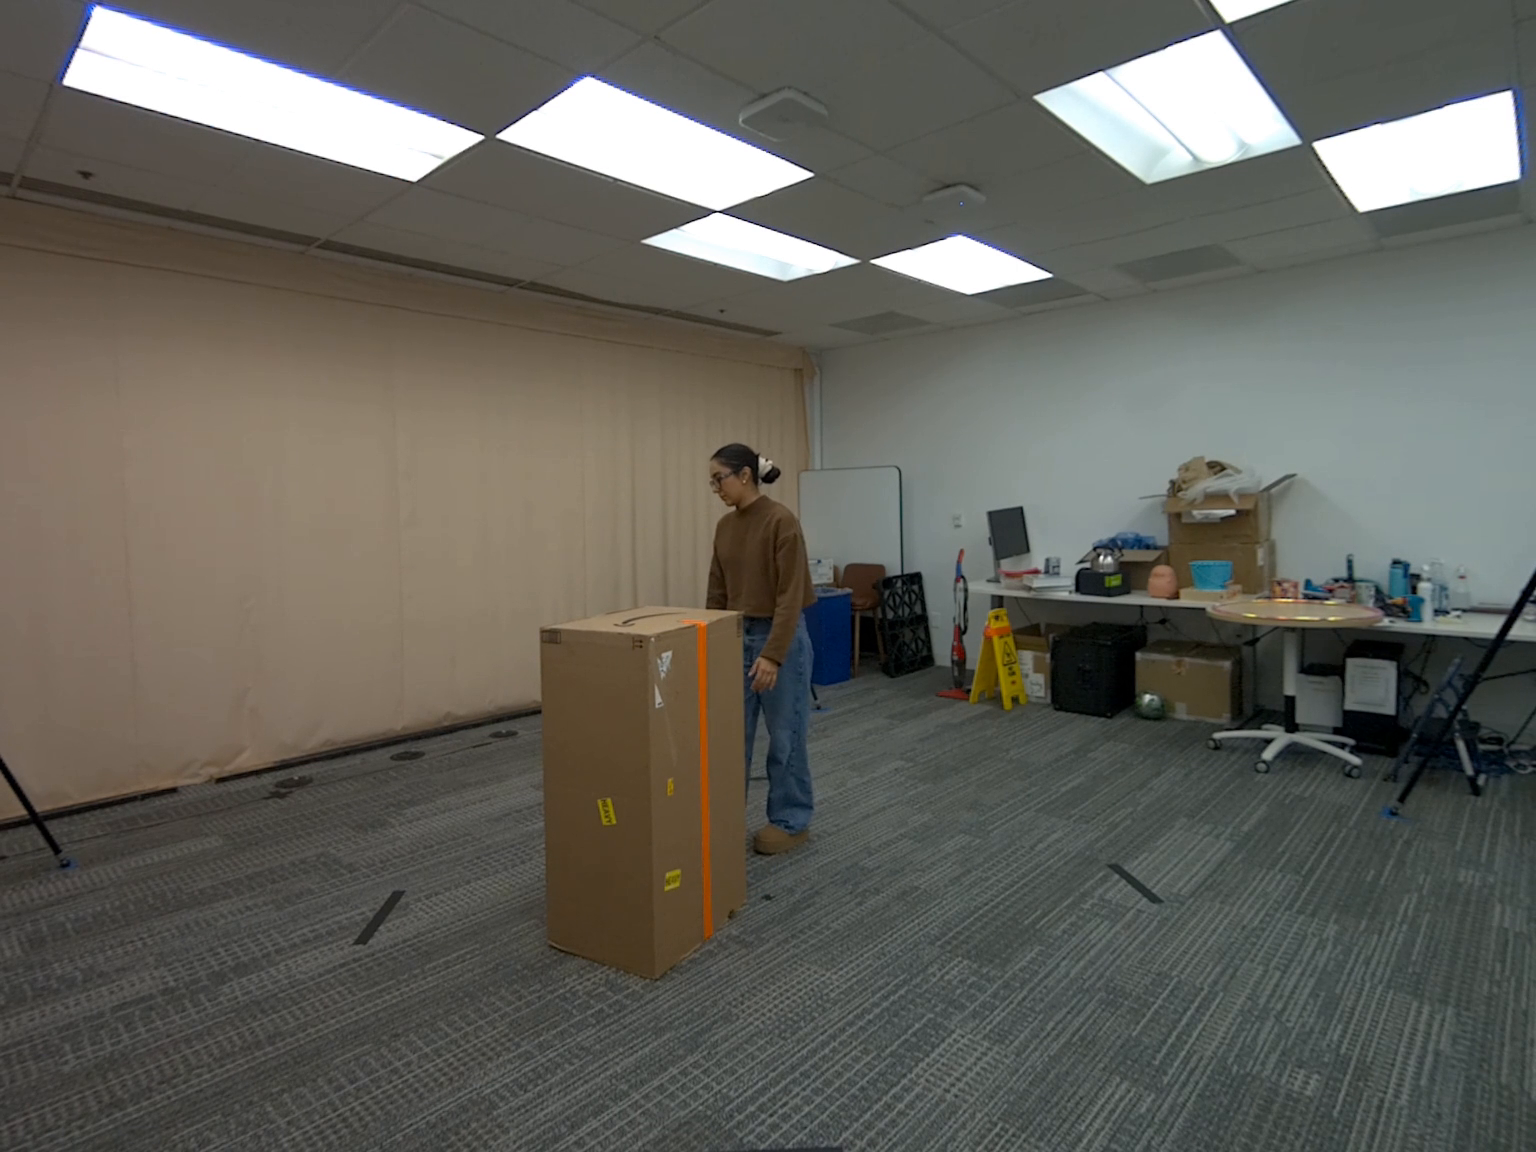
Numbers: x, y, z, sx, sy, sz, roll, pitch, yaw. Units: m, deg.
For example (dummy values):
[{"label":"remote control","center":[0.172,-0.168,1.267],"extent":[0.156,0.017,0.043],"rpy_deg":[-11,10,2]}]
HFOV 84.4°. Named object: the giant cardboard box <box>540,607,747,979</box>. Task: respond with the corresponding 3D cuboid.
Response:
[{"label":"giant cardboard box","center":[-0.398,0.654,2.796],"extent":[0.438,1.024,0.562],"rpy_deg":[1,4,29]}]
